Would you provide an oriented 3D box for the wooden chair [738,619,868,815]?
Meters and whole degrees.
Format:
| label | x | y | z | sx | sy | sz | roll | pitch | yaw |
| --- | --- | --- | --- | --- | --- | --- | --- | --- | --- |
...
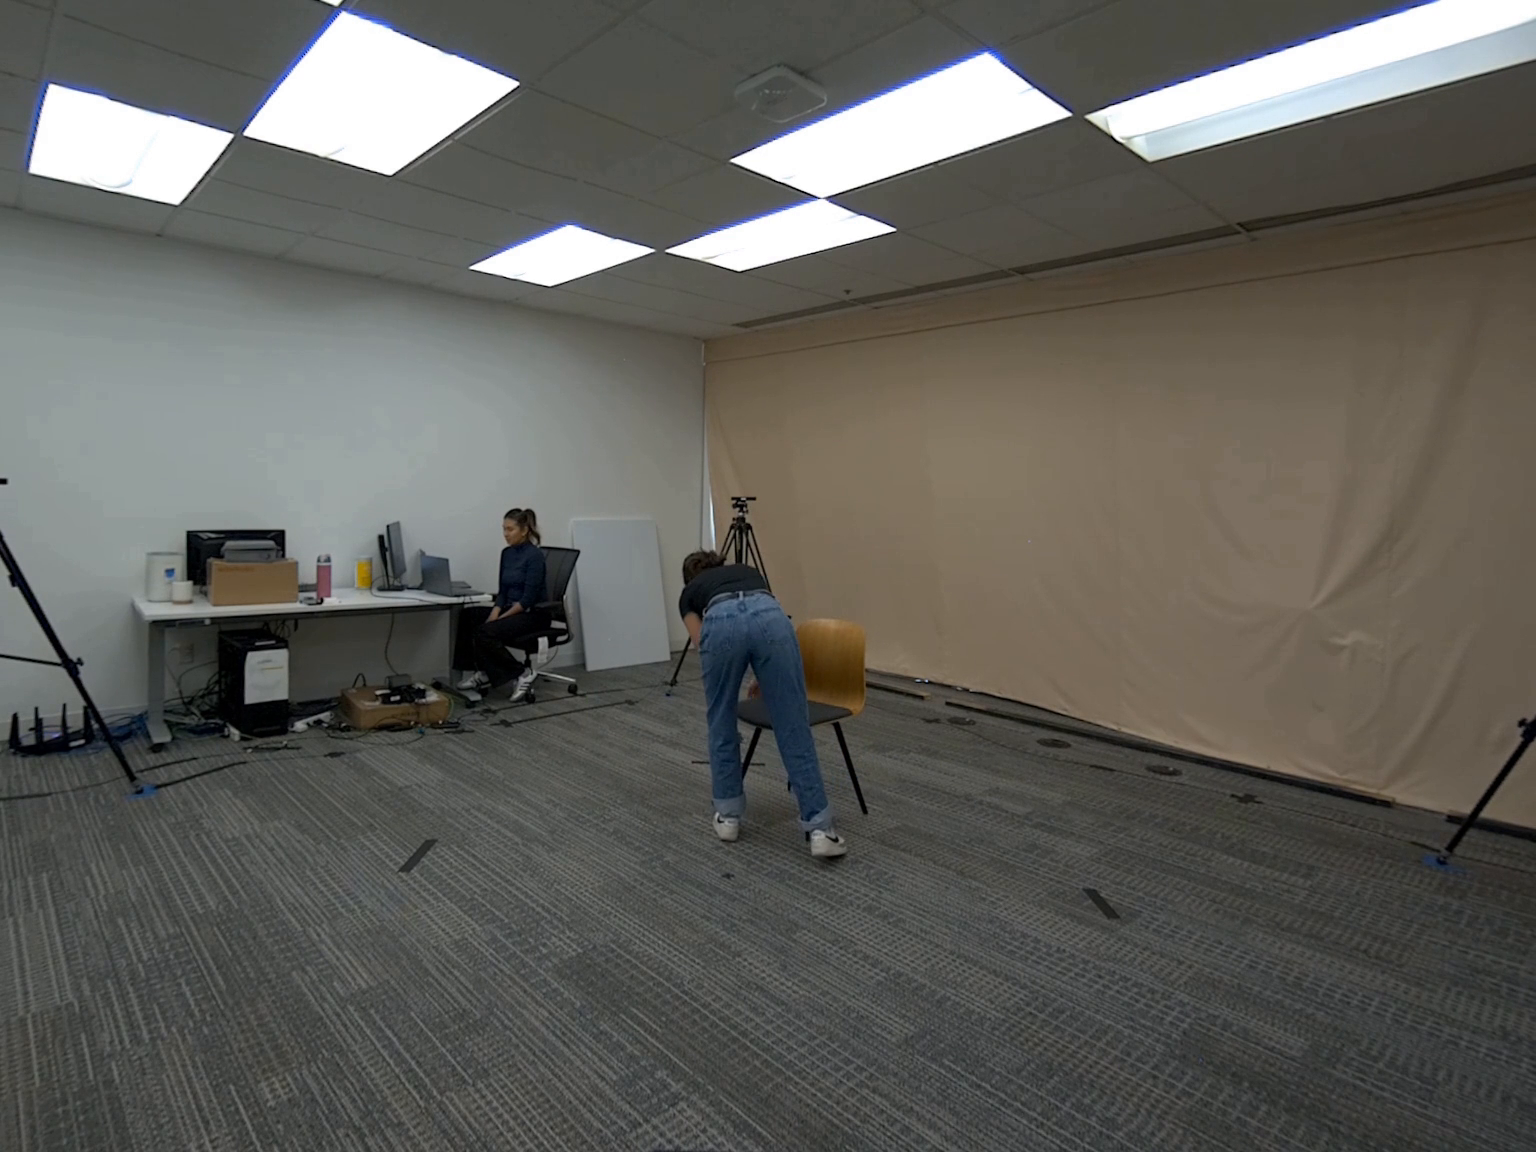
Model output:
| label | x | y | z | sx | sy | sz | roll | pitch | yaw |
| --- | --- | --- | --- | --- | --- | --- | --- | --- | --- |
| wooden chair | 0.132 | 0.630 | 3.718 | 0.490 | 0.878 | 0.510 | 4 | 0 | 40 |
